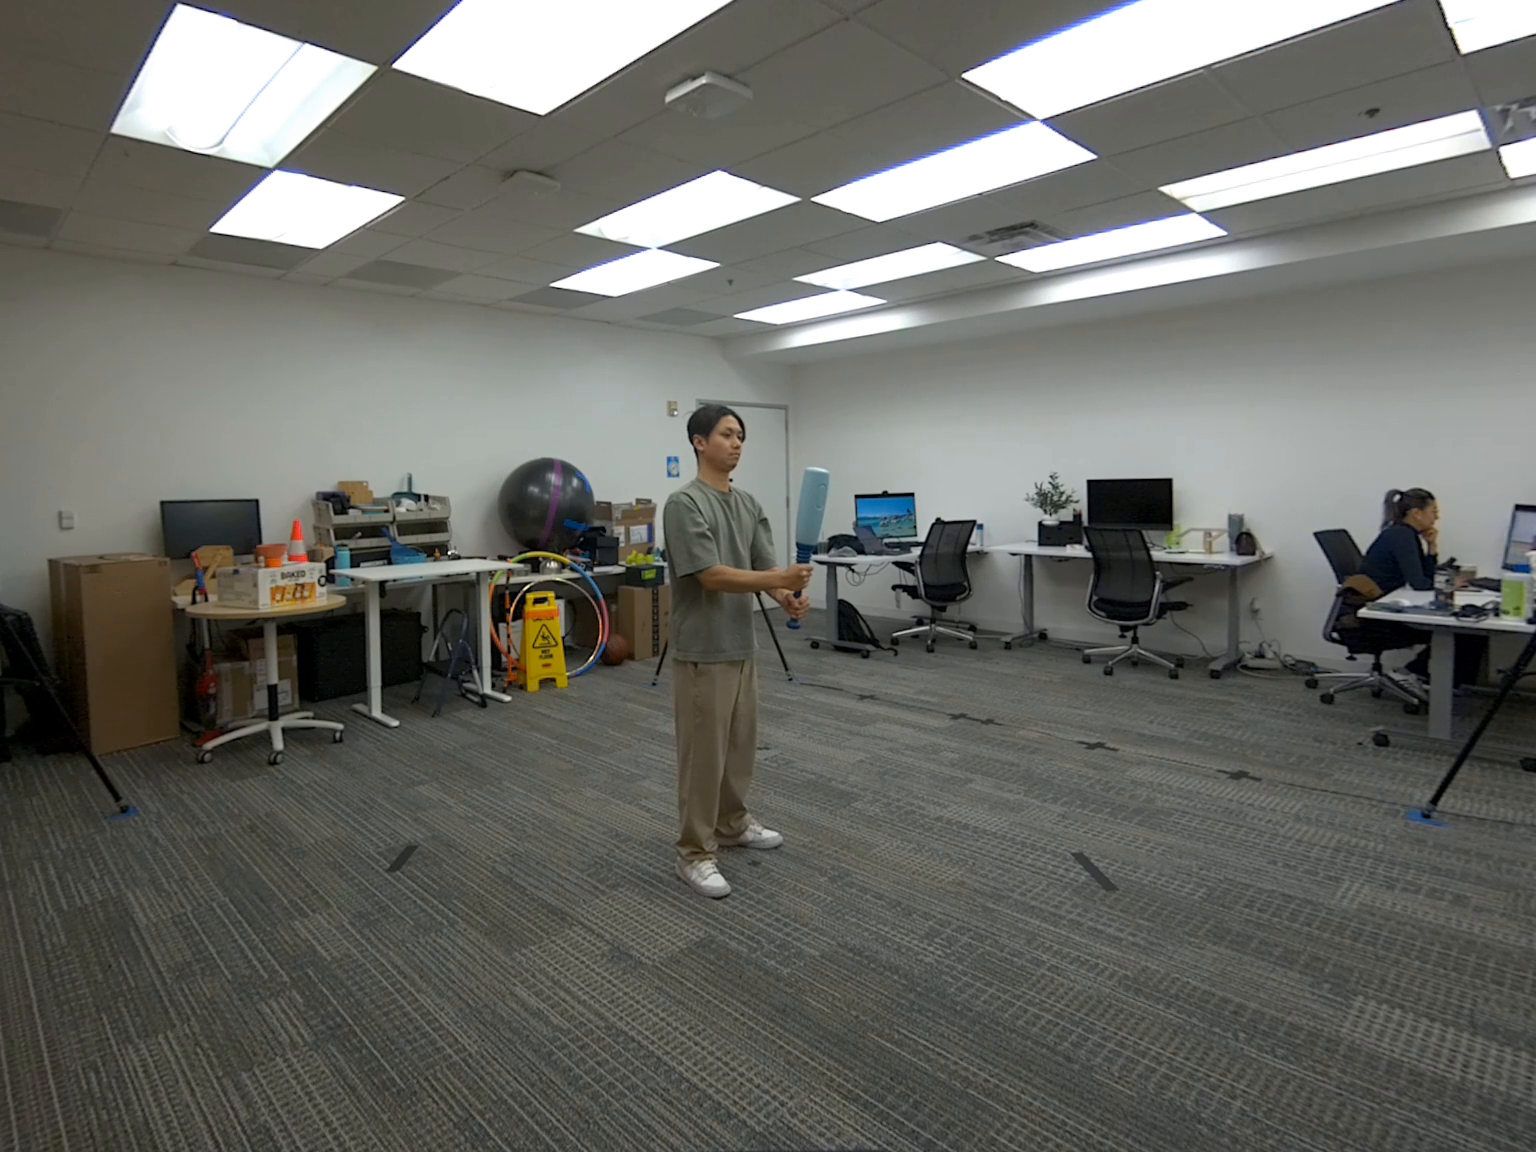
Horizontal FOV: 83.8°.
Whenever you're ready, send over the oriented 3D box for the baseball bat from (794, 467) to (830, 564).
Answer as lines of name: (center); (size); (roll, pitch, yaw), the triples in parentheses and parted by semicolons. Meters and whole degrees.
baseball bat: (0.123, -0.086, 2.827); (0.089, 0.540, 0.090); (8, 7, -3)
